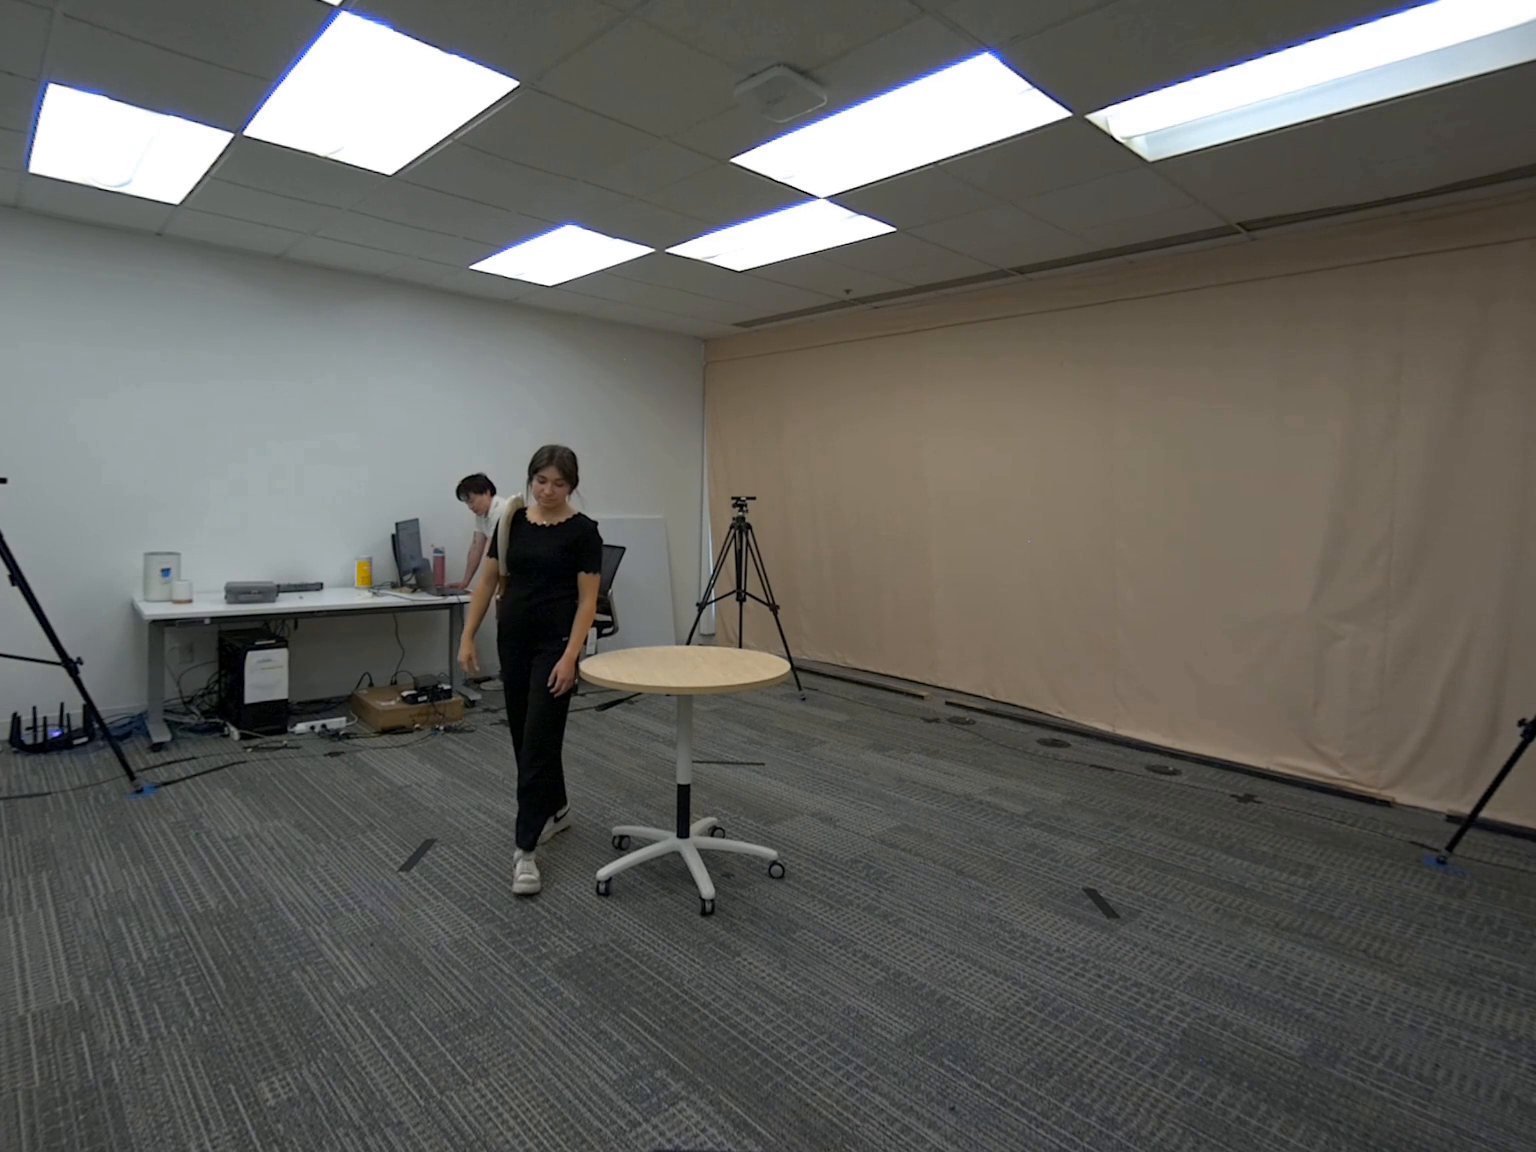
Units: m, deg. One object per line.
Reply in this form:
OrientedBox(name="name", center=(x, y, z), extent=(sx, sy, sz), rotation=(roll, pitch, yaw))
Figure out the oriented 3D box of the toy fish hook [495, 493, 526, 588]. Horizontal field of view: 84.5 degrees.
OrientedBox(name="toy fish hook", center=(-1.010, -0.071, 3.292), extent=(0.049, 0.503, 0.224), rotation=(12, 11, 9))
